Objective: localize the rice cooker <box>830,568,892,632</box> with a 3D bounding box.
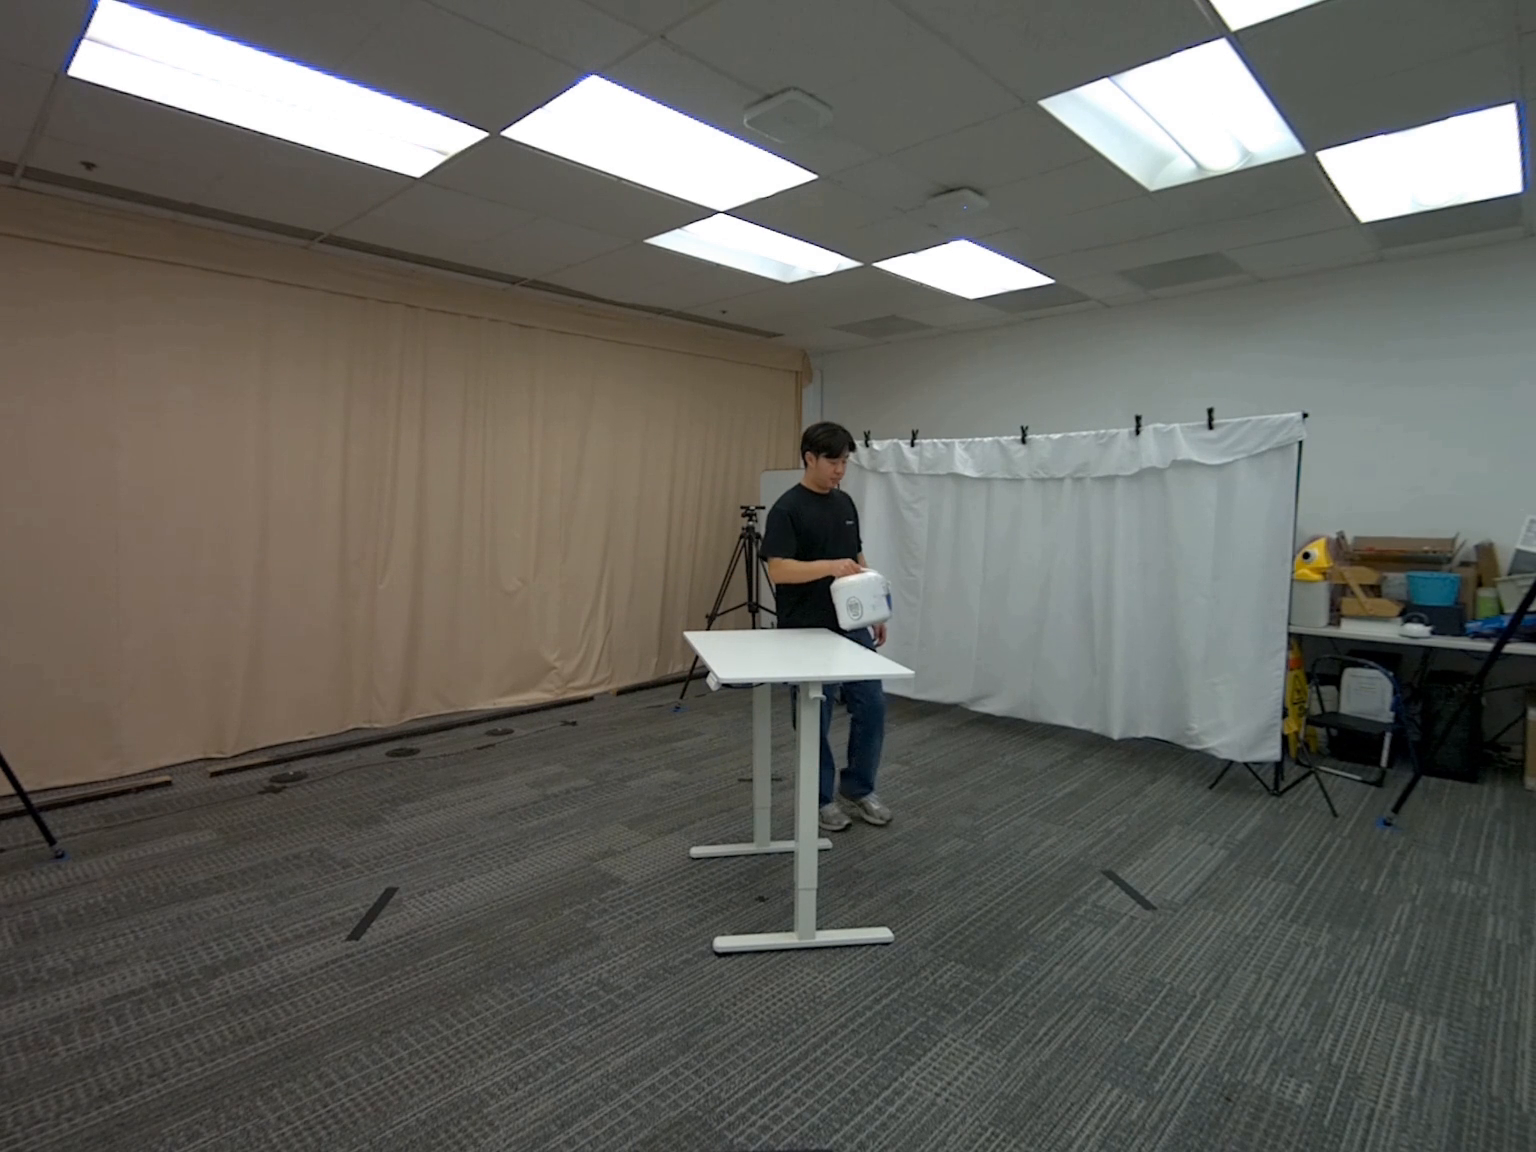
[{"bbox_3d":[0.365,0.092,3.330,0.225,0.234,0.212,-14,-6,23],"label":"rice cooker"}]
